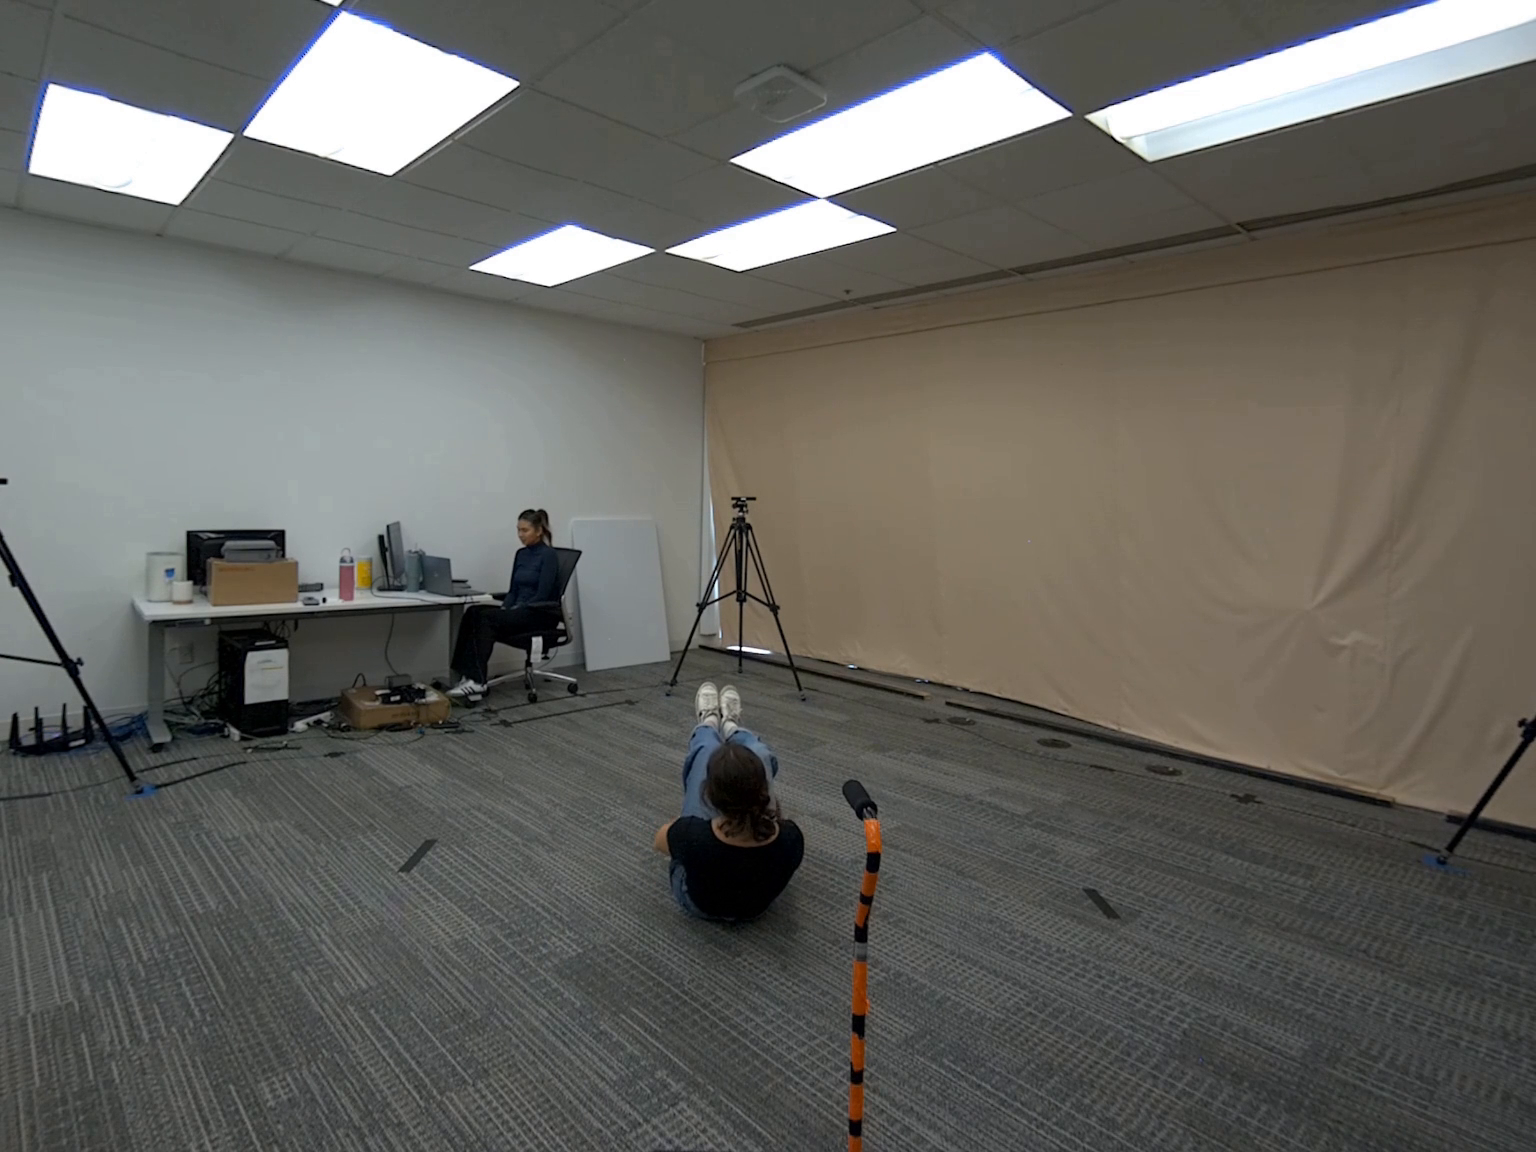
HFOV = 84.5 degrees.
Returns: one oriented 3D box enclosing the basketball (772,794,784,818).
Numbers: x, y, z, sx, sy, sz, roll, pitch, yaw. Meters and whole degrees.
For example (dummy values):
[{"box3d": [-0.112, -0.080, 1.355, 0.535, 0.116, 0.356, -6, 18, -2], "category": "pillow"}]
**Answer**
[{"box3d": [-0.074, 0.886, 3.136, 0.236, 0.235, 0.237, 1, 4, -1], "category": "basketball"}]
